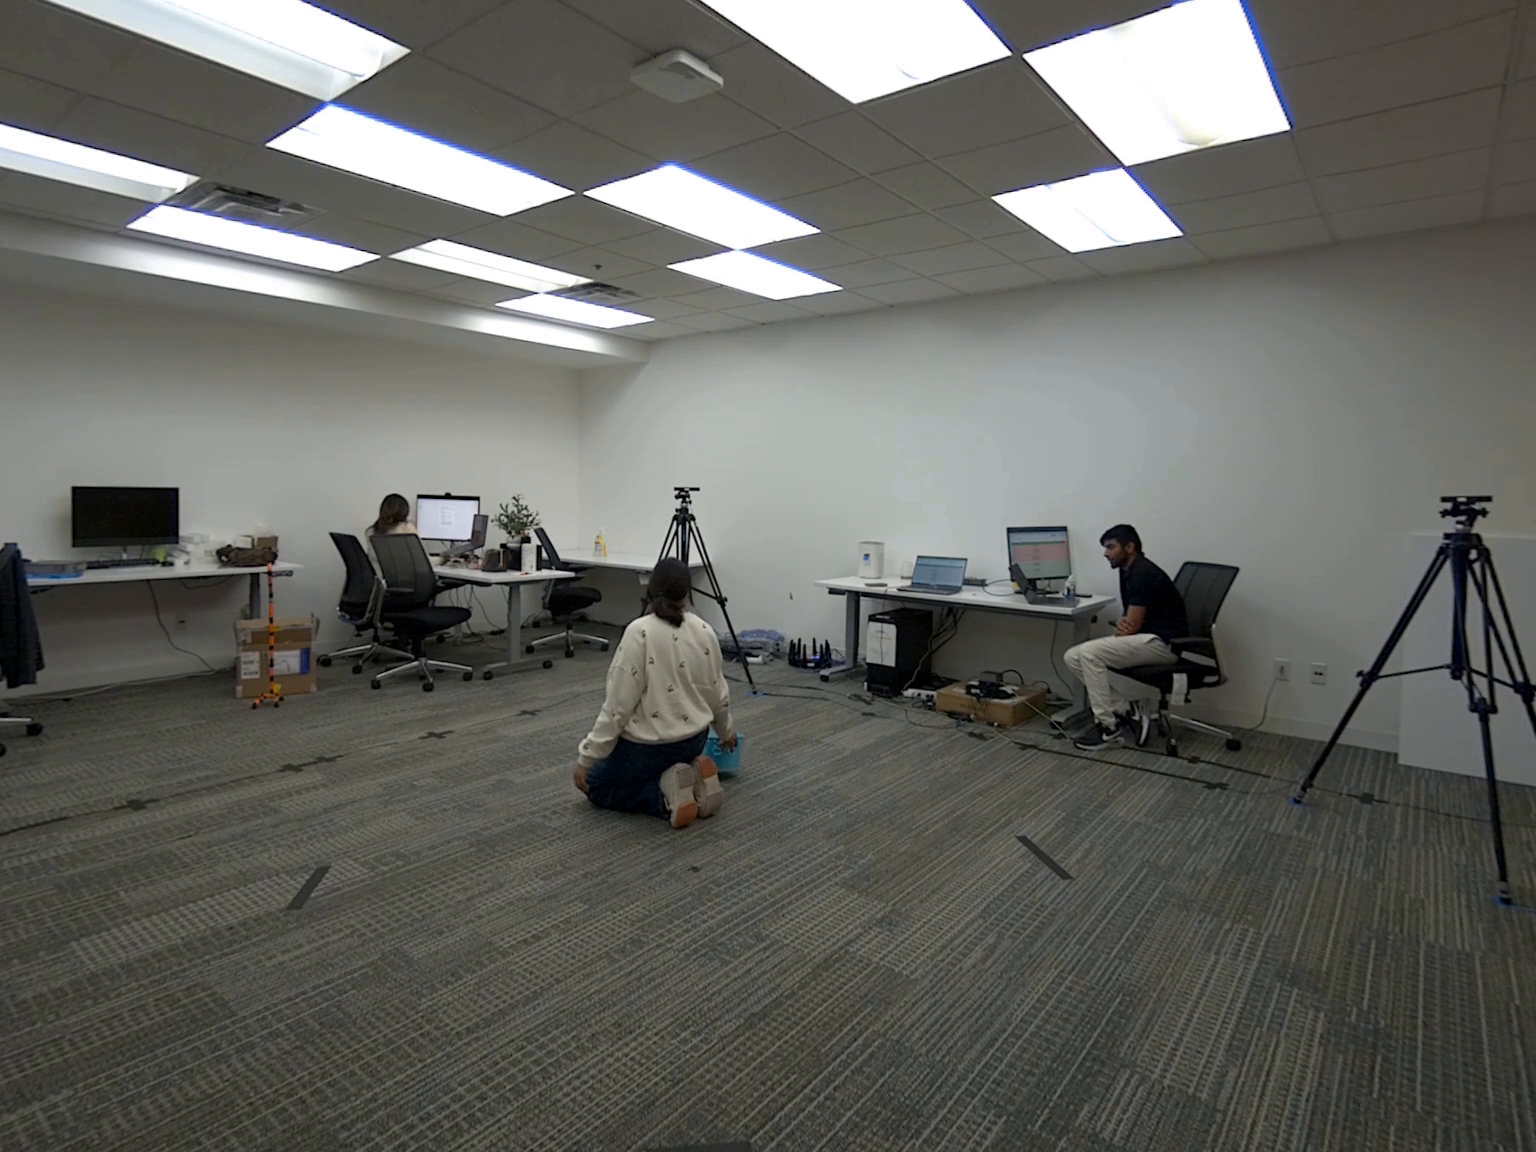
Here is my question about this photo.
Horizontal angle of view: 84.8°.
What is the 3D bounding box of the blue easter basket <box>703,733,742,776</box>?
[{"bbox_3d":[-0.243,0.848,4.140,0.243,0.157,0.242,1,-5,-2],"label":"blue easter basket"}]
